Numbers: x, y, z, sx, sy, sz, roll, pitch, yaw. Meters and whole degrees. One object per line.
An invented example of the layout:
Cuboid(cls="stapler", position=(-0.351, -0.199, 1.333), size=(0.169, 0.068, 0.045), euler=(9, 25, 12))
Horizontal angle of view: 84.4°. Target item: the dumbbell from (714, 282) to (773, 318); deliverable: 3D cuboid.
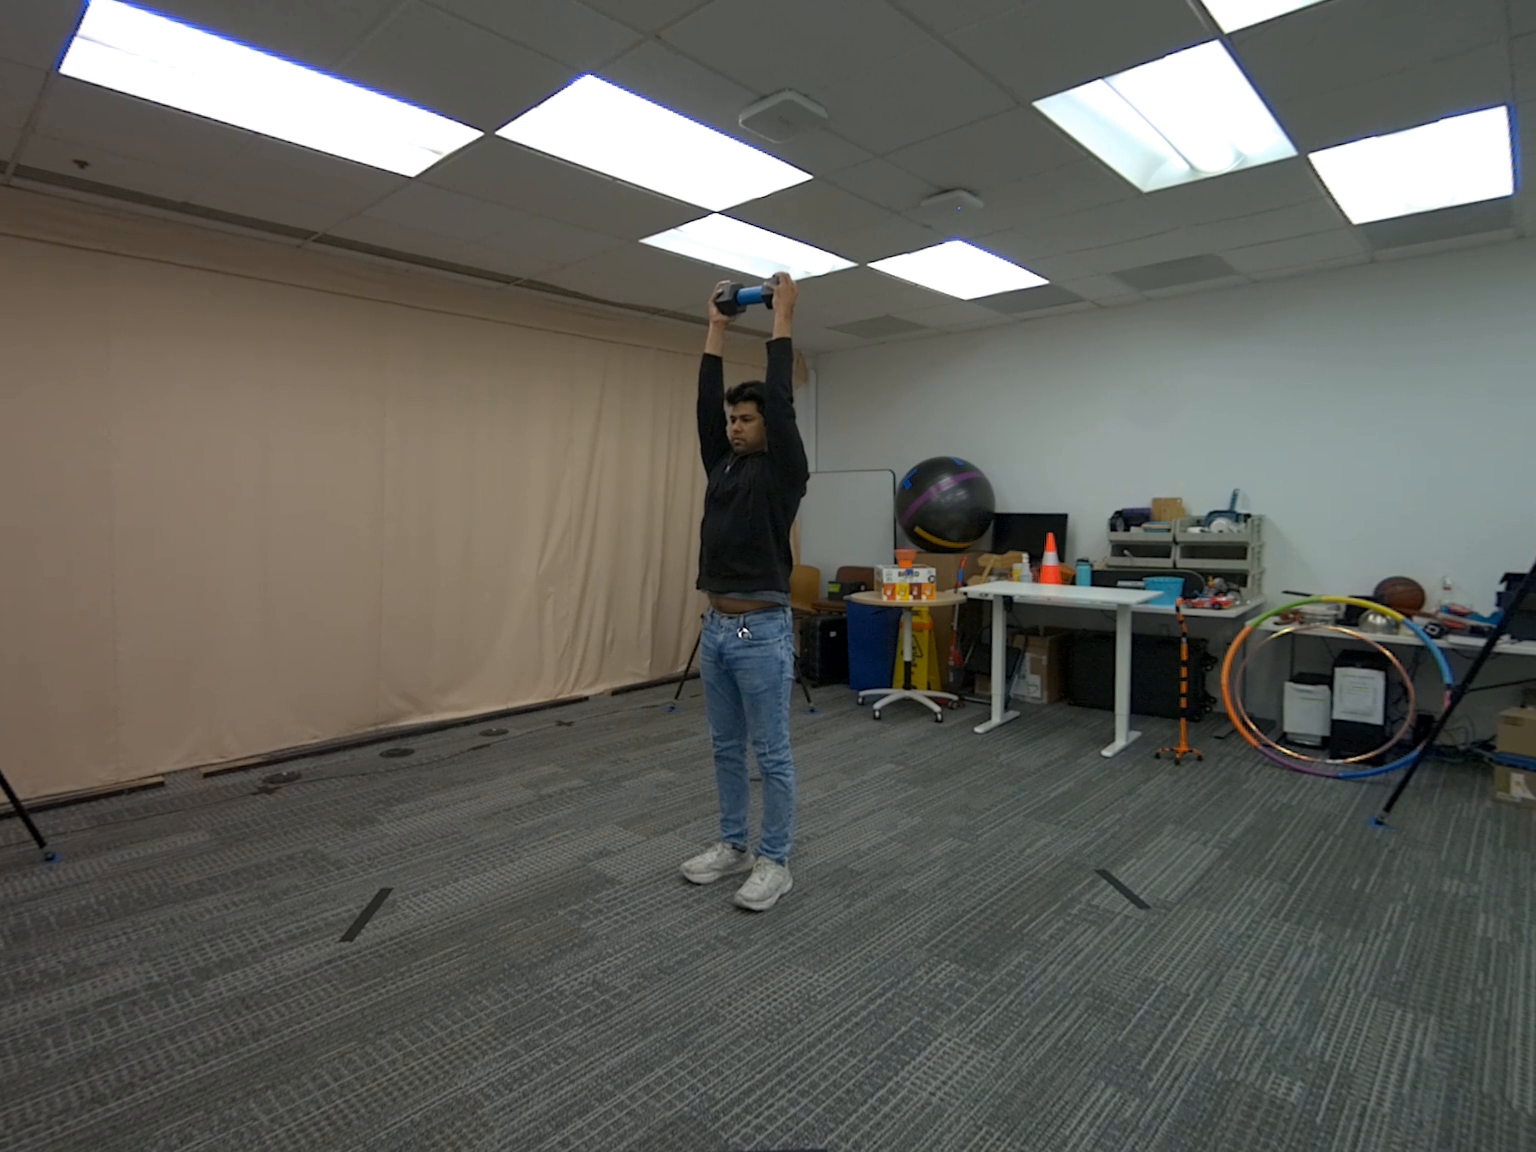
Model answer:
Cuboid(cls="dumbbell", position=(-0.049, -1.006, 3.015), size=(0.304, 0.107, 0.120), euler=(9, 25, 39))
